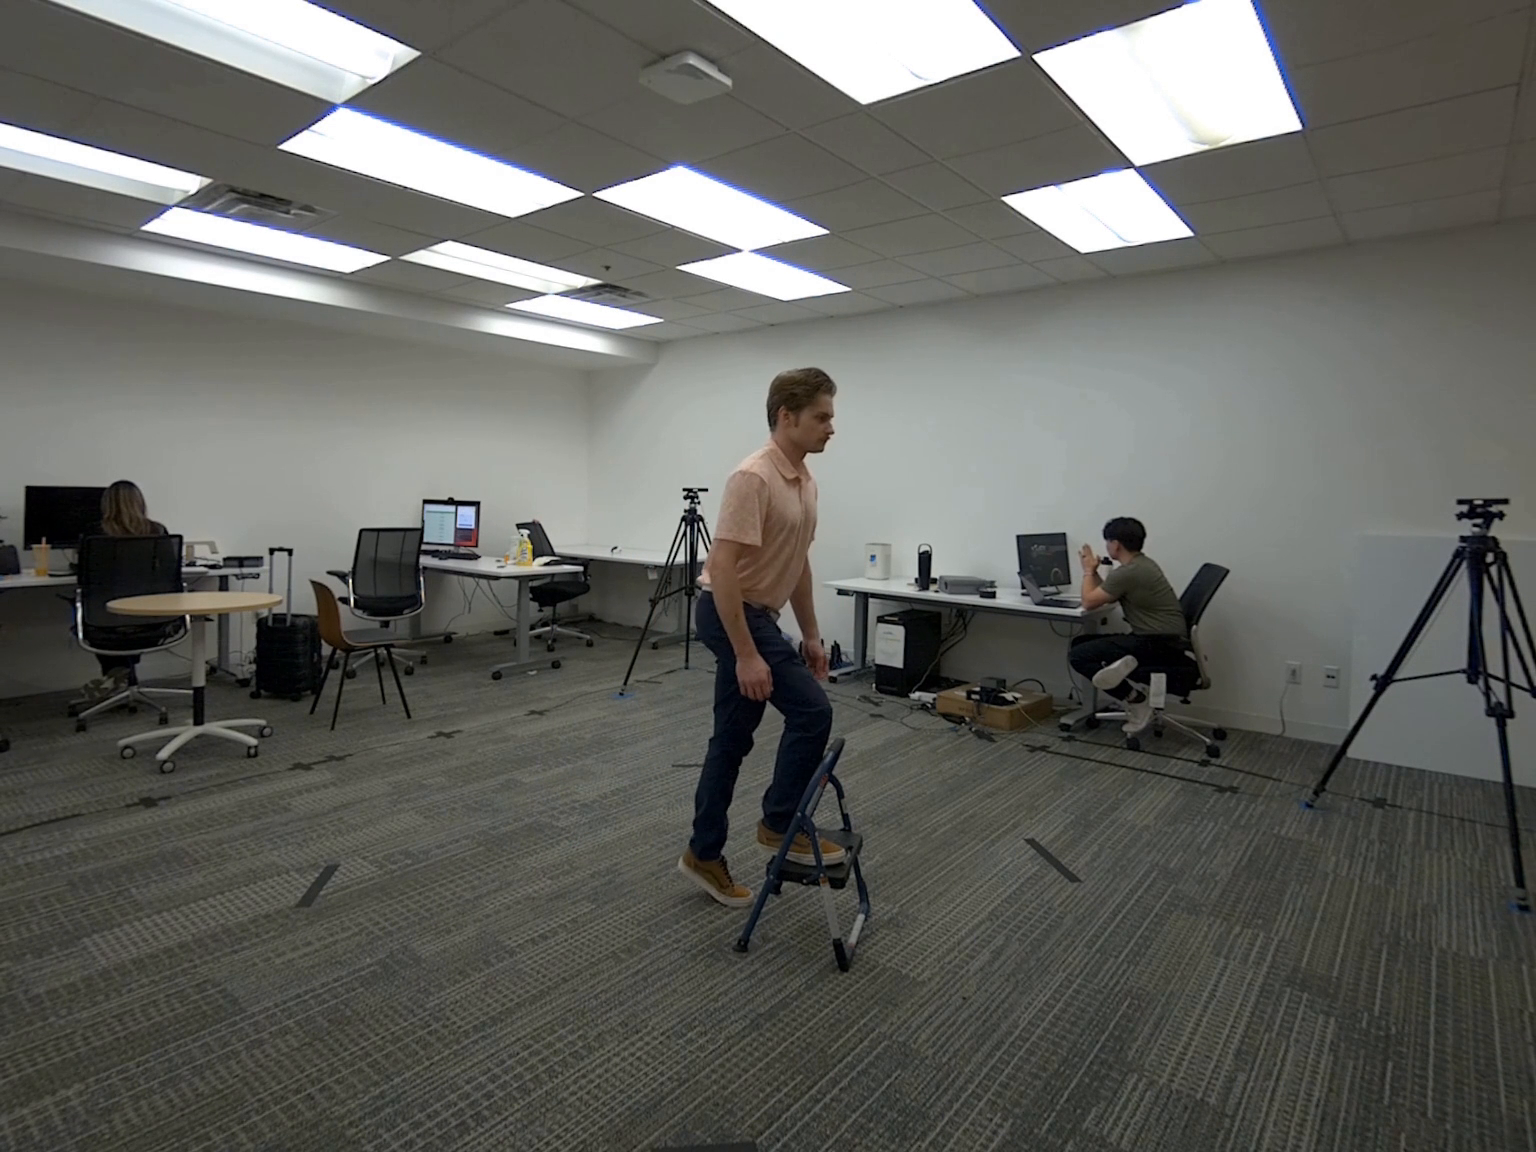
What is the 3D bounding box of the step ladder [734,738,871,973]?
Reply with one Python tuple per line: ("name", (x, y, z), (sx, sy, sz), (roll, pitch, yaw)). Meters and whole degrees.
("step ladder", (0.126, 0.818, 2.688), (0.356, 0.604, 0.424), (3, 4, 17))
